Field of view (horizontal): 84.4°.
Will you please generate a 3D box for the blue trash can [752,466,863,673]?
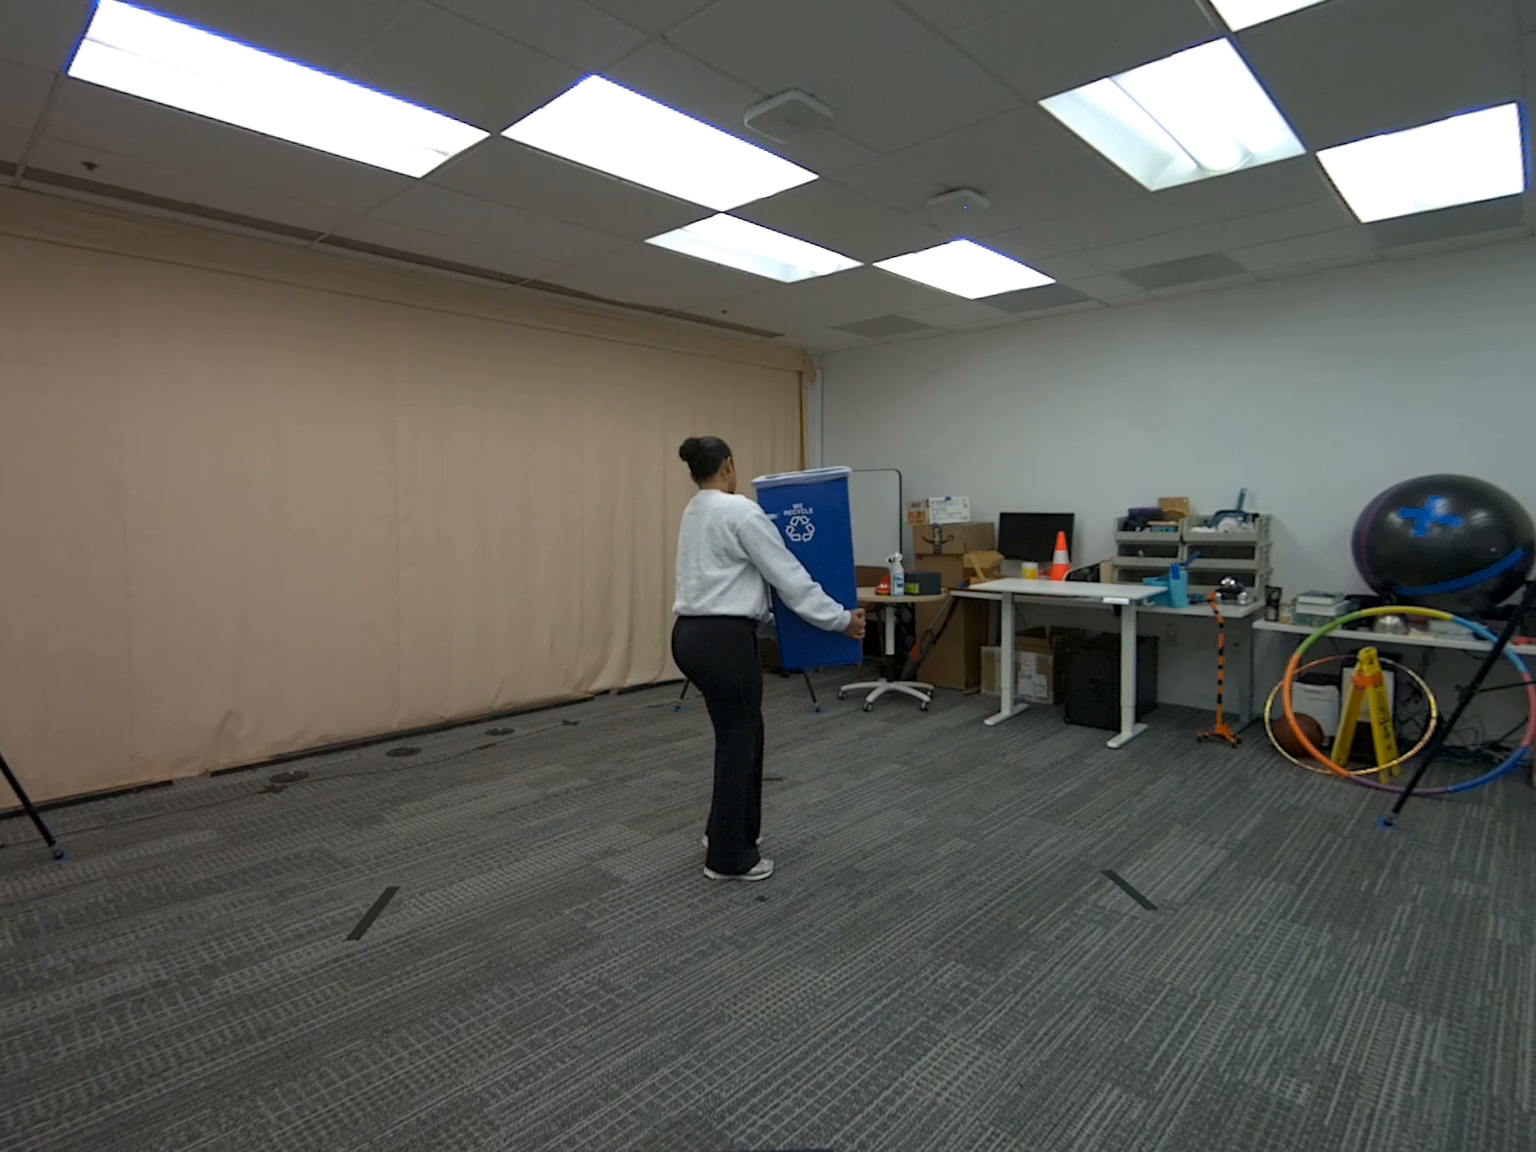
[{"bbox_3d":[0.172,-0.041,3.236,0.380,0.710,0.374,-7,7,4],"label":"blue trash can"}]
